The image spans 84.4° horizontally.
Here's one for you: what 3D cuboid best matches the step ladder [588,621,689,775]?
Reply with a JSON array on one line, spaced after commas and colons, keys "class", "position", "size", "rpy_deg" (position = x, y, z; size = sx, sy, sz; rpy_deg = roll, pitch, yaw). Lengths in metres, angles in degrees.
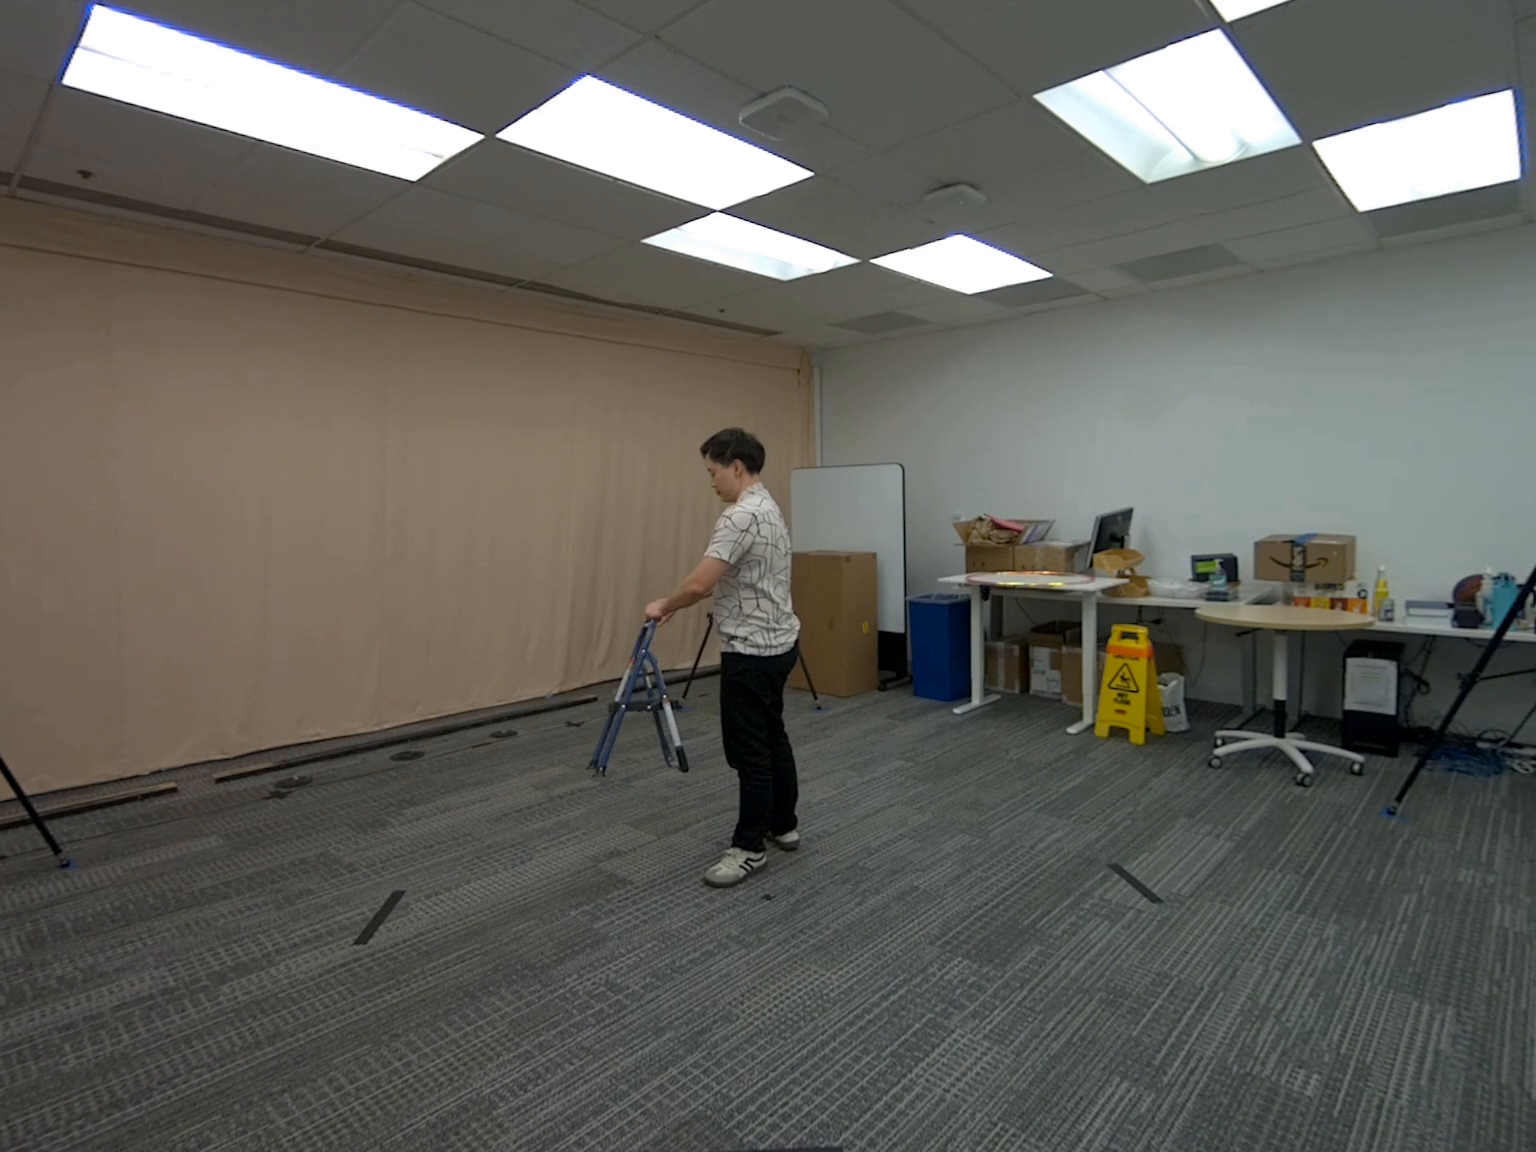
[{"class": "step ladder", "position": [-0.512, 0.452, 3.278], "size": [0.344, 0.611, 0.433], "rpy_deg": [0, -11, -14]}]
